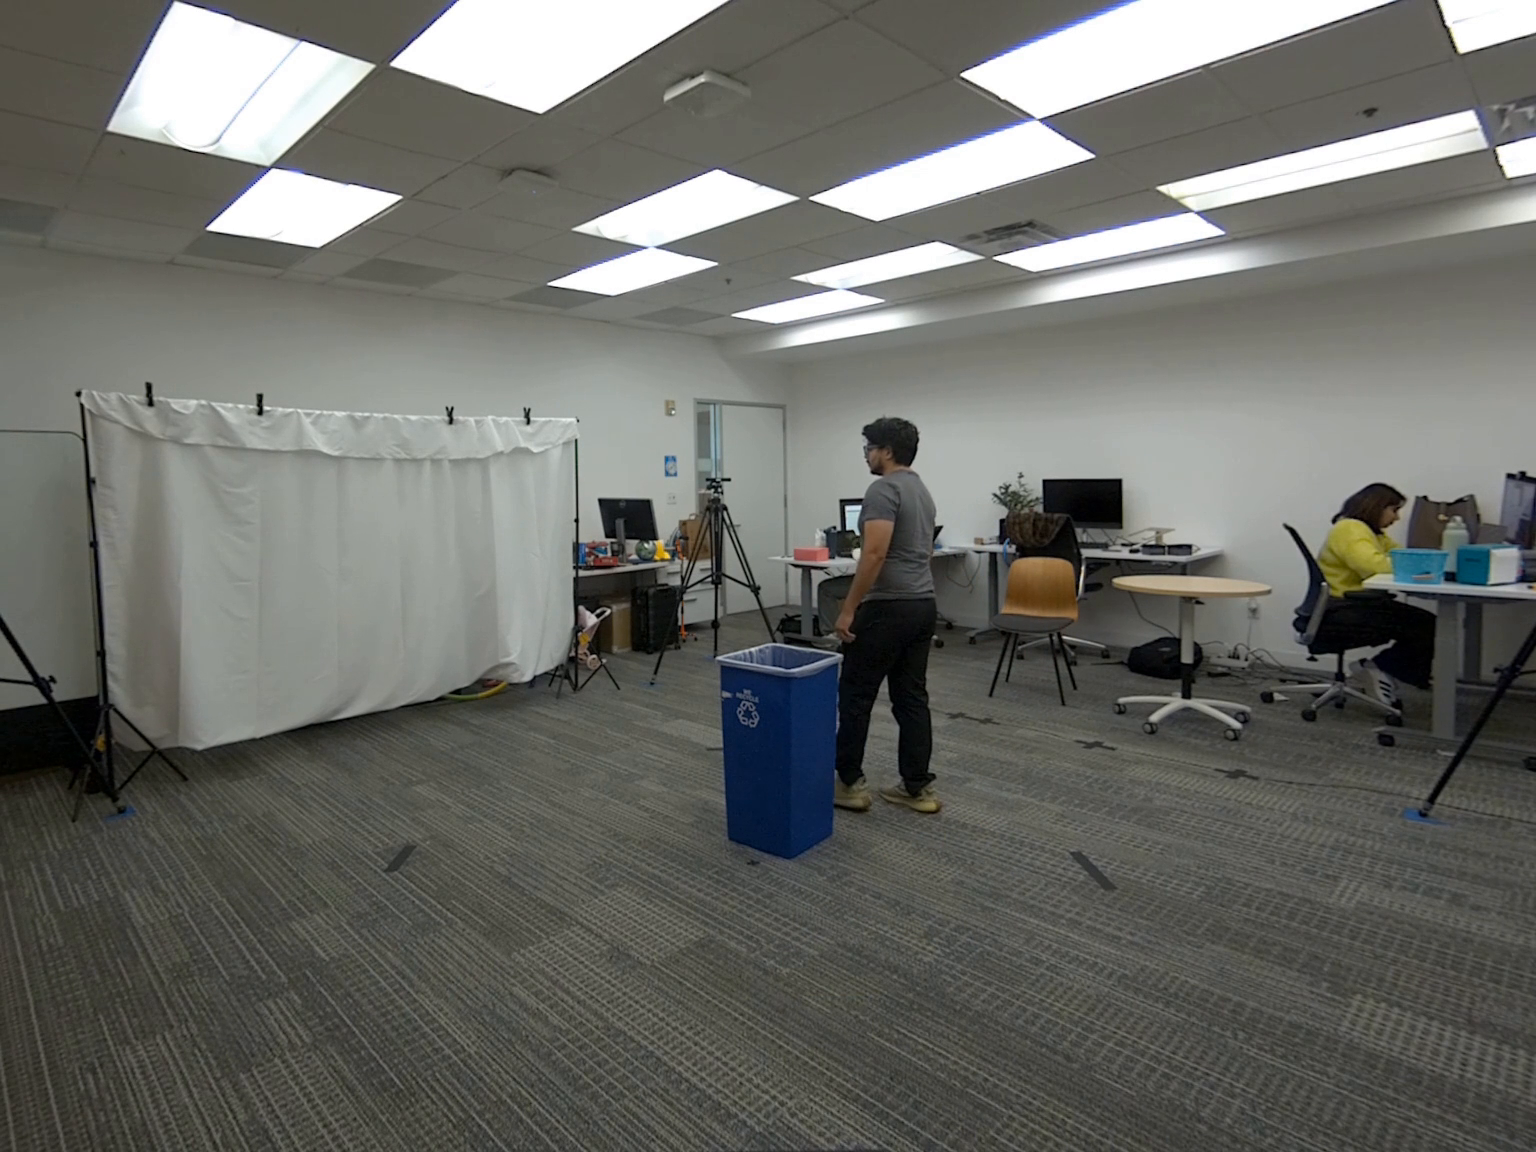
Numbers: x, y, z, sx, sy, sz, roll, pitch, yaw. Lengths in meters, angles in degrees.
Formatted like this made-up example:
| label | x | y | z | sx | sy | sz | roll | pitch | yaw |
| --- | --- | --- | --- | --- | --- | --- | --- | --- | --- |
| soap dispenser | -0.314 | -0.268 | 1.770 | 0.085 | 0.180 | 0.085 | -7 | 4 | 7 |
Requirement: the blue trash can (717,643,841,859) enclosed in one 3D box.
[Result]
| label | x | y | z | sx | sy | sz | roll | pitch | yaw |
| --- | --- | --- | --- | --- | --- | --- | --- | --- | --- |
| blue trash can | 0.053 | 0.659 | 3.303 | 0.385 | 0.711 | 0.368 | 2 | 5 | 38 |
